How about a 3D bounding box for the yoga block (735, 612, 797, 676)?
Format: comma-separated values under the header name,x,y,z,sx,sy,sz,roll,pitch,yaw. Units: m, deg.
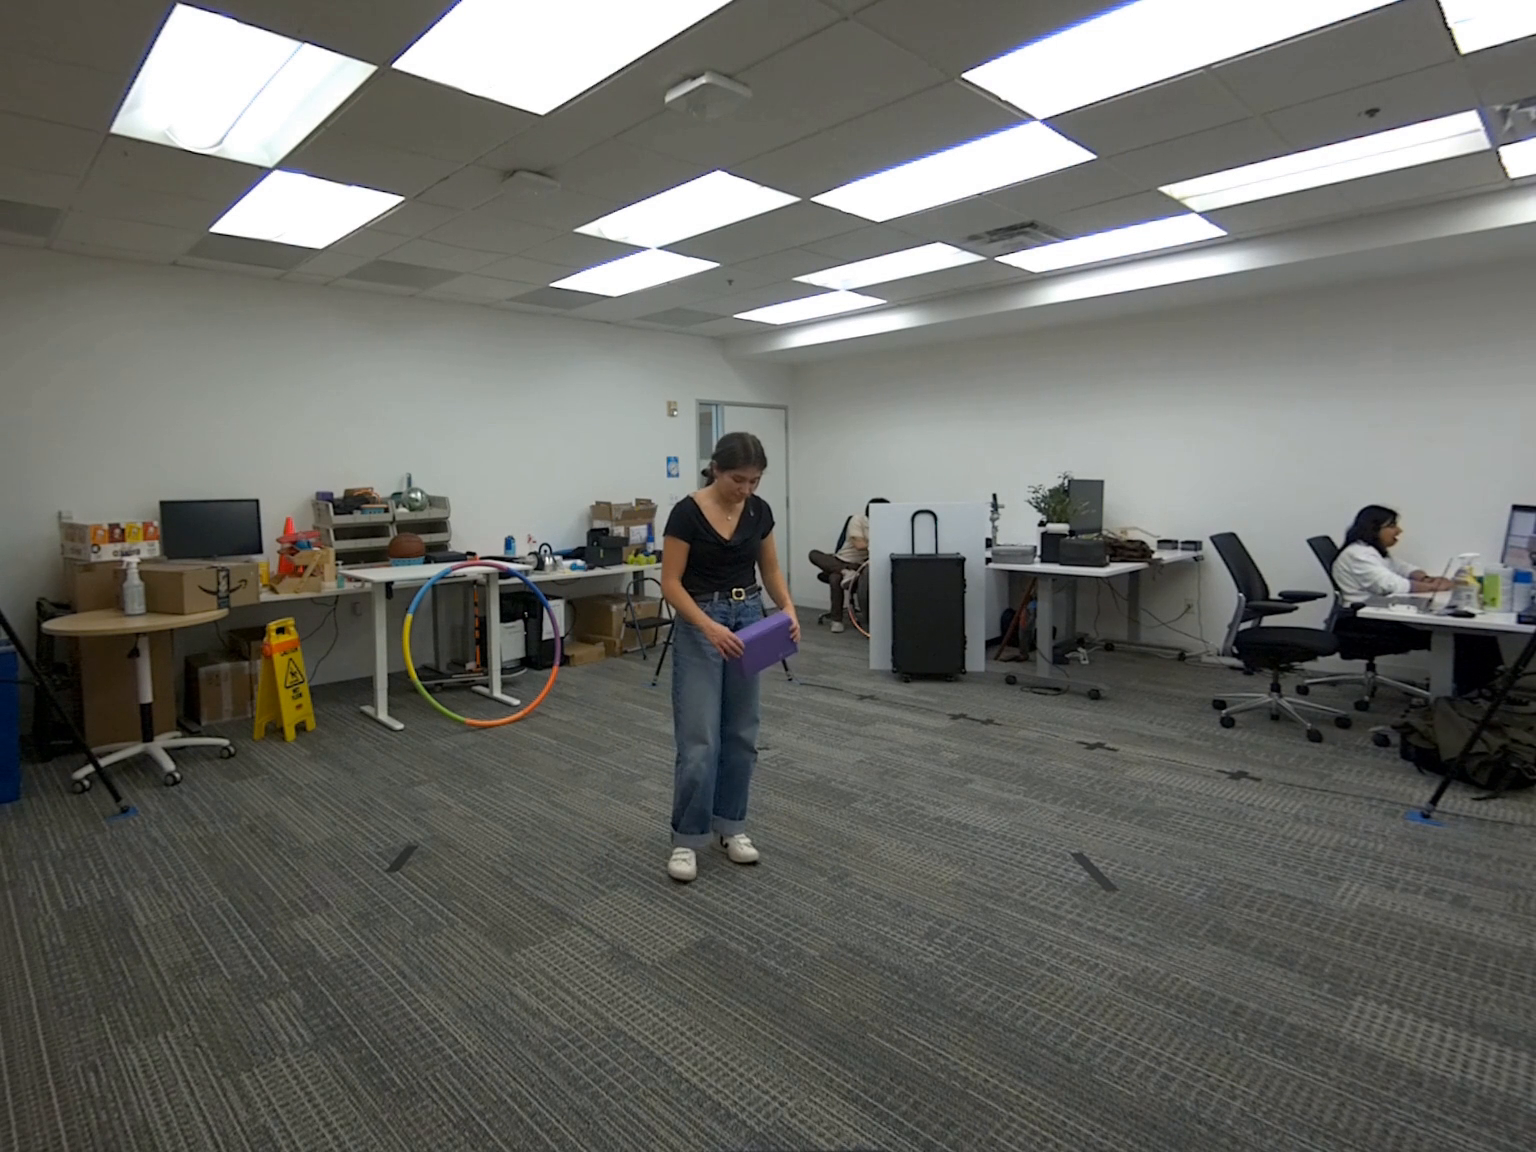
name,x,y,z,sx,sy,sz,roll,pitch,yaw
yoga block,-0.045,0.244,2.965,0.228,0.145,0.079,-26,25,-15
